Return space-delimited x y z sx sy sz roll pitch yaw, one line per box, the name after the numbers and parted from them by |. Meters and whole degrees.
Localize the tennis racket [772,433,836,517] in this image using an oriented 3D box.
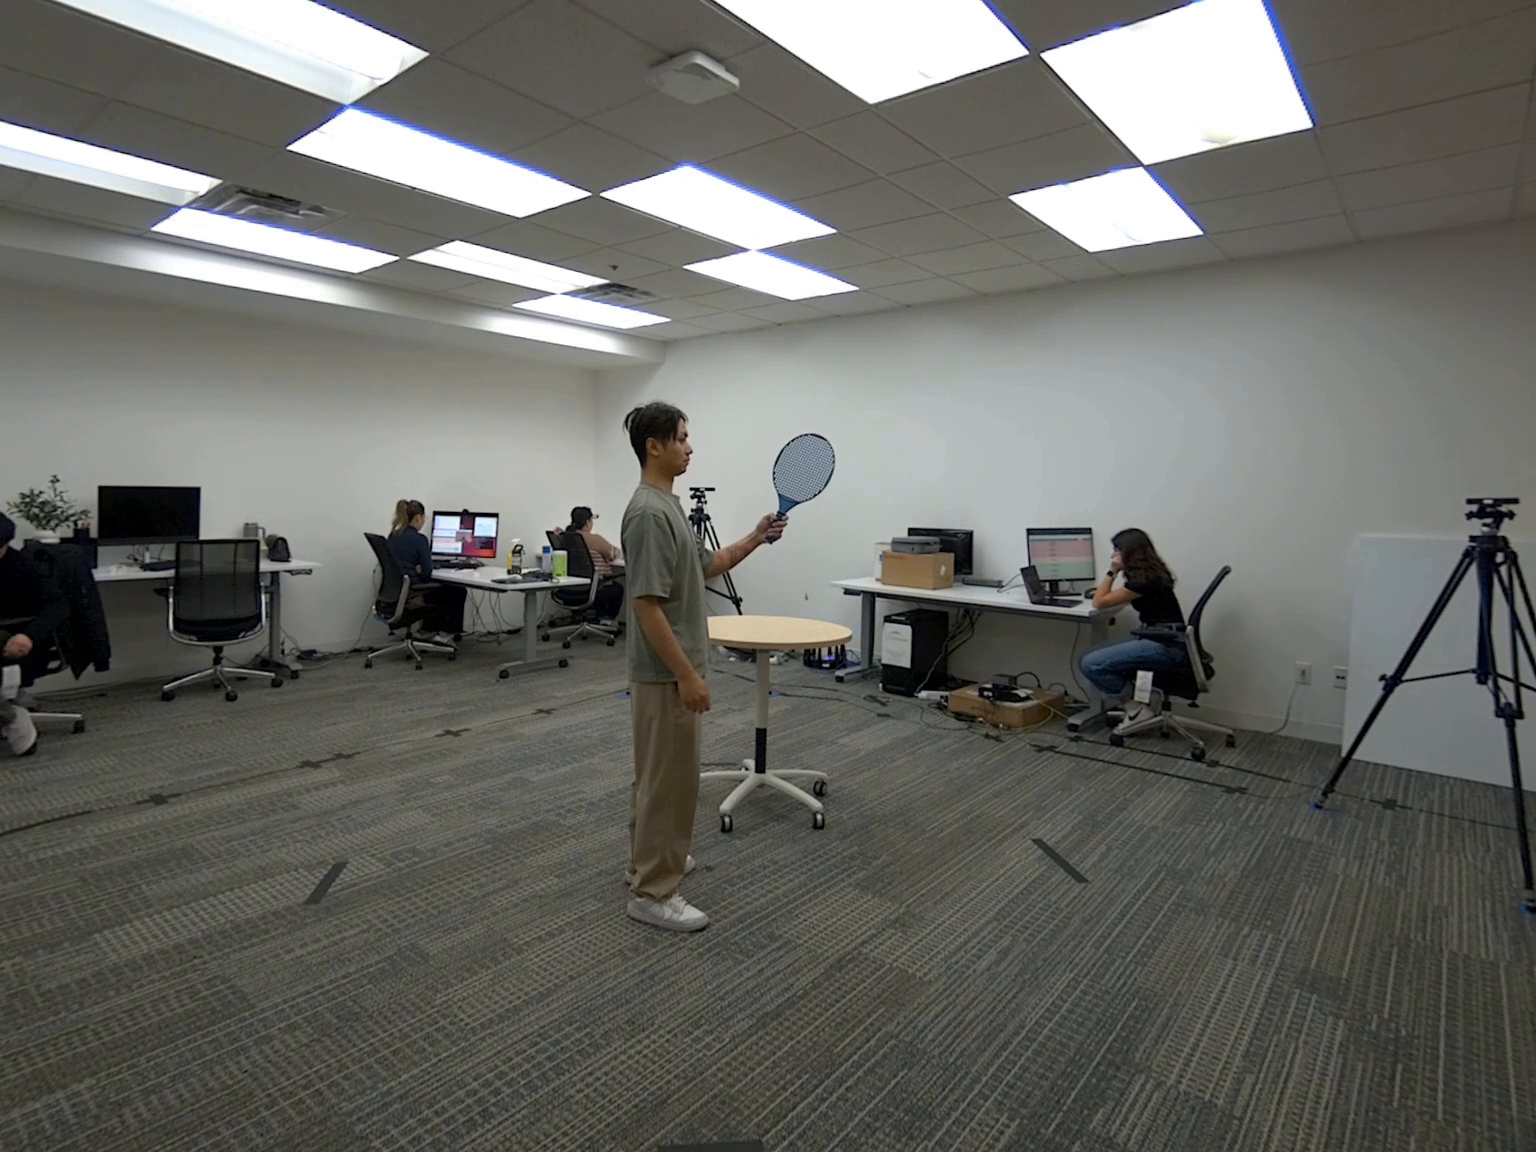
0.080 -0.315 3.026 0.219 0.434 0.031 21 -7 19 | tennis racket
